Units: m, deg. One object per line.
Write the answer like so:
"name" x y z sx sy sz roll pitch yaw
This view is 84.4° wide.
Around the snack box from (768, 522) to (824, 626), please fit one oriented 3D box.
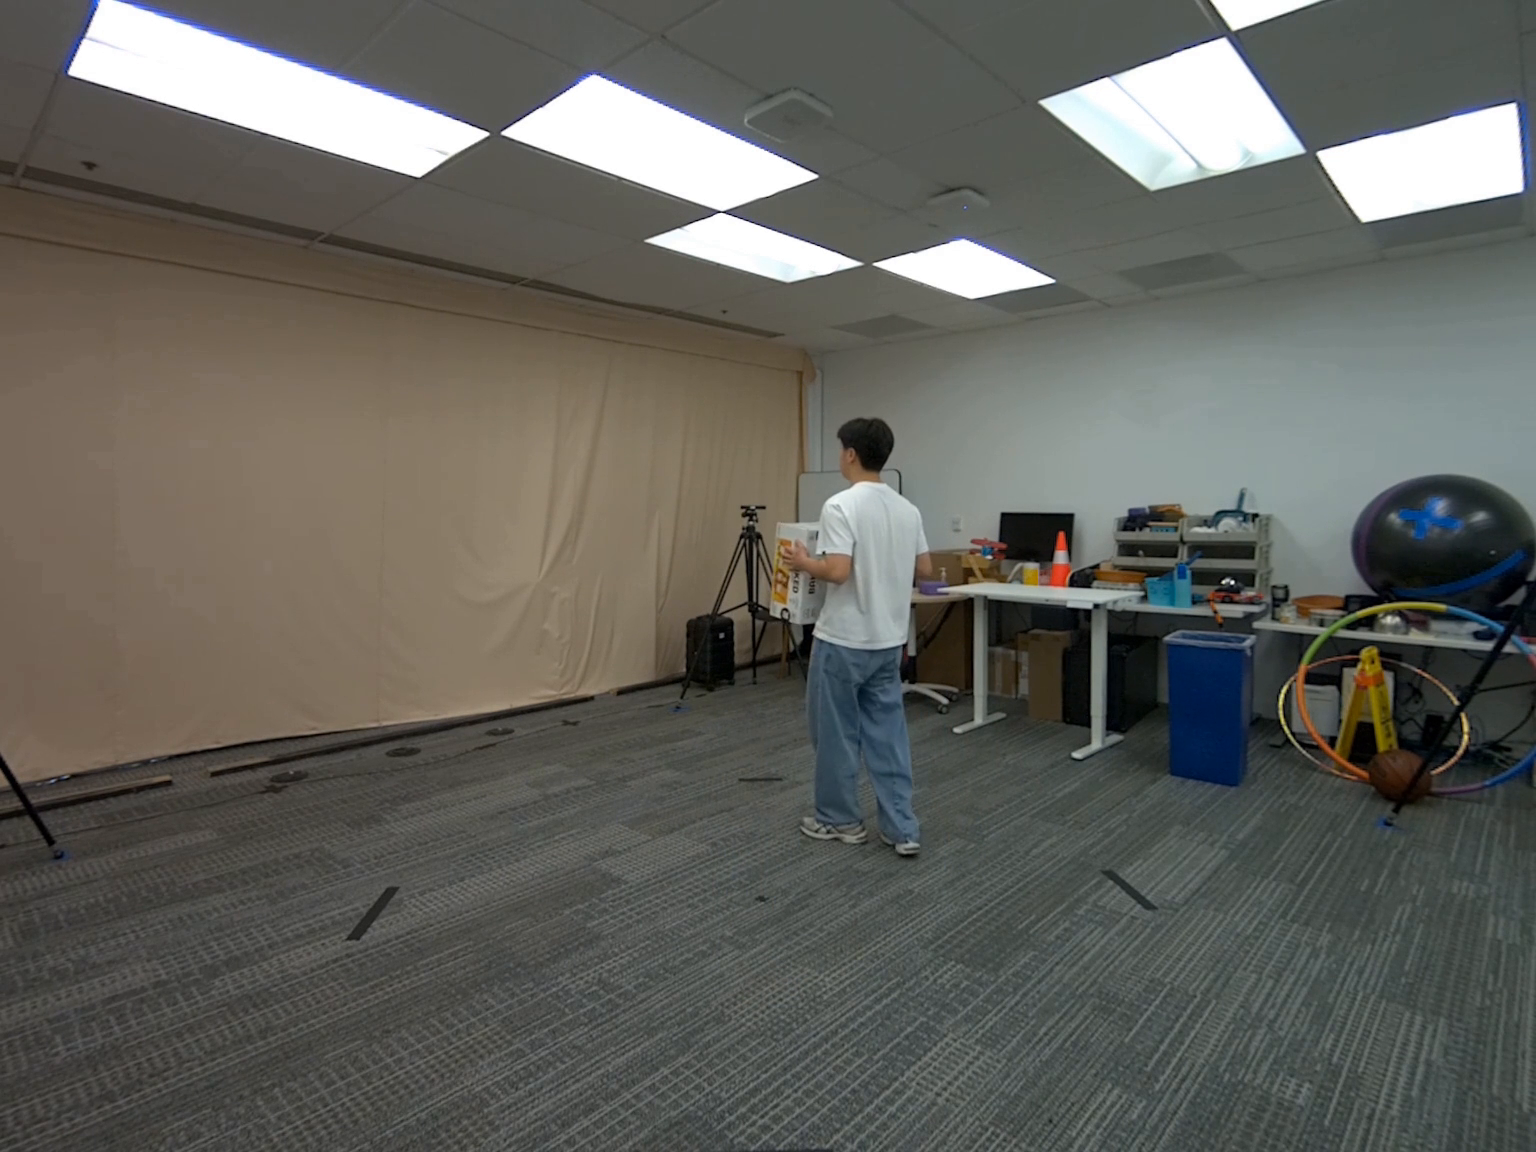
"snack box" 0.219 -0.021 3.653 0.330 0.403 0.213 -3 12 -38
